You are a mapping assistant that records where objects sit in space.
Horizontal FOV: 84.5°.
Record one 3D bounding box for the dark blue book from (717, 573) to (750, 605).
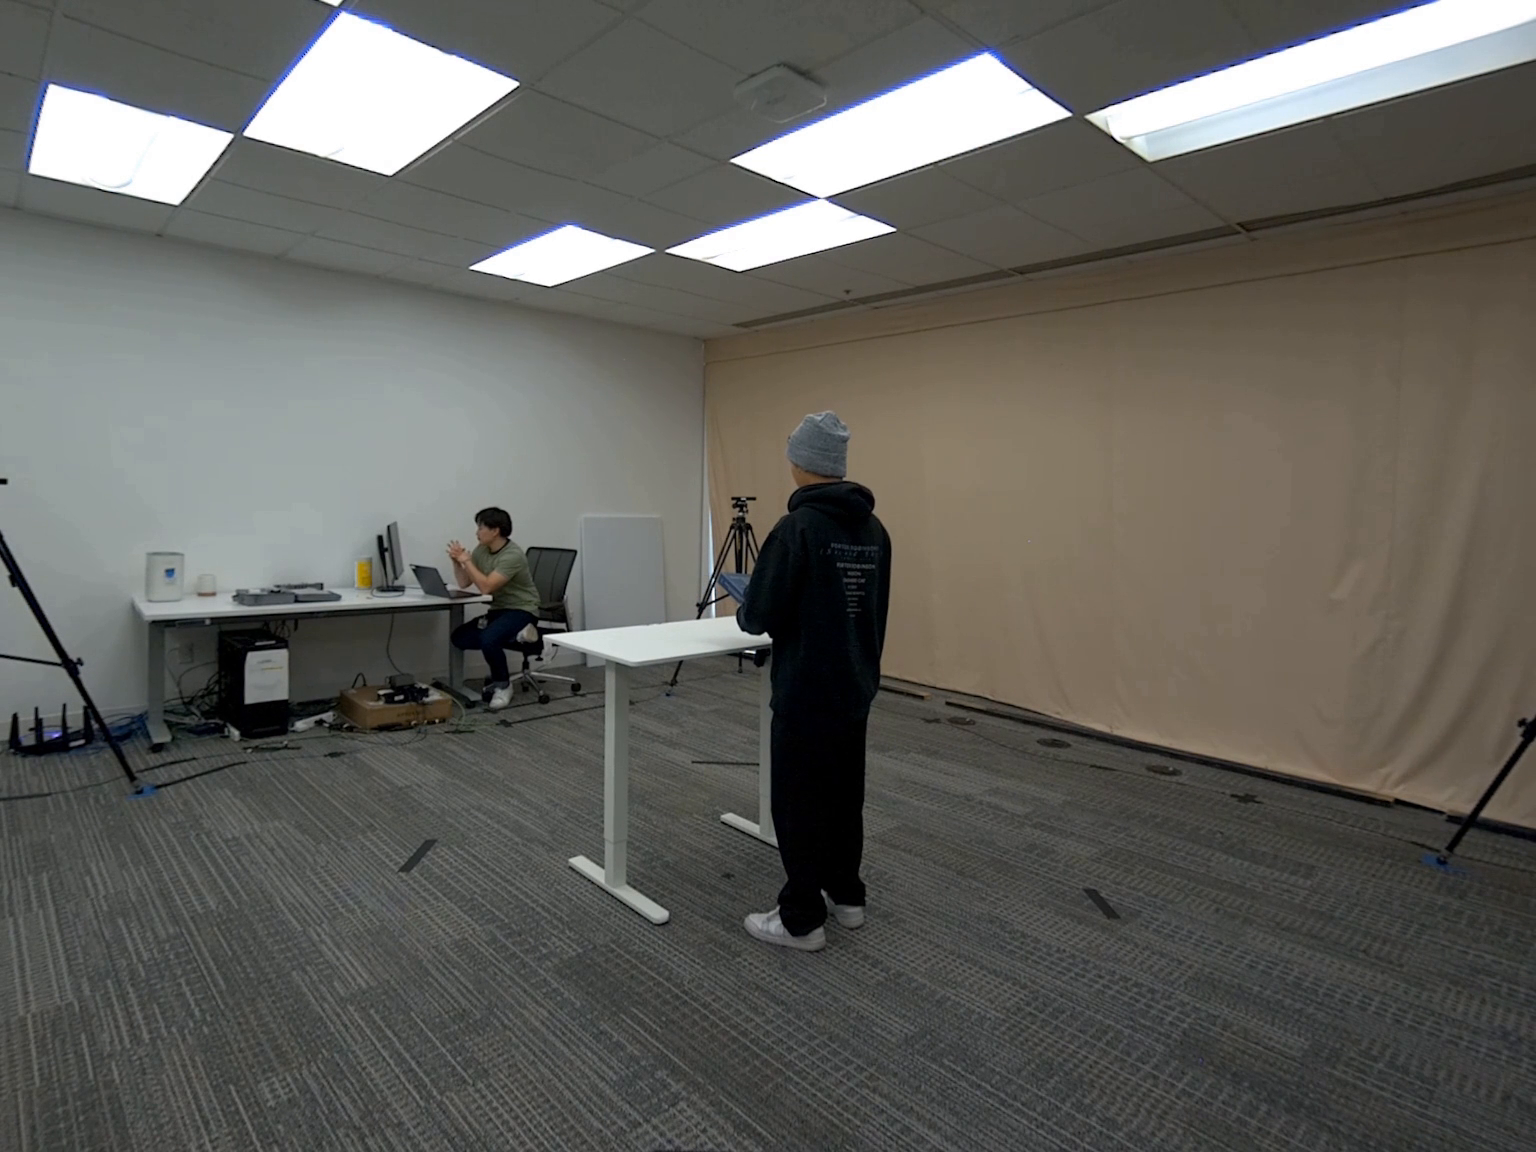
[{"bbox_3d":[-0.058,0.063,2.987,0.159,0.045,0.253,3,24,-38],"label":"dark blue book"}]
